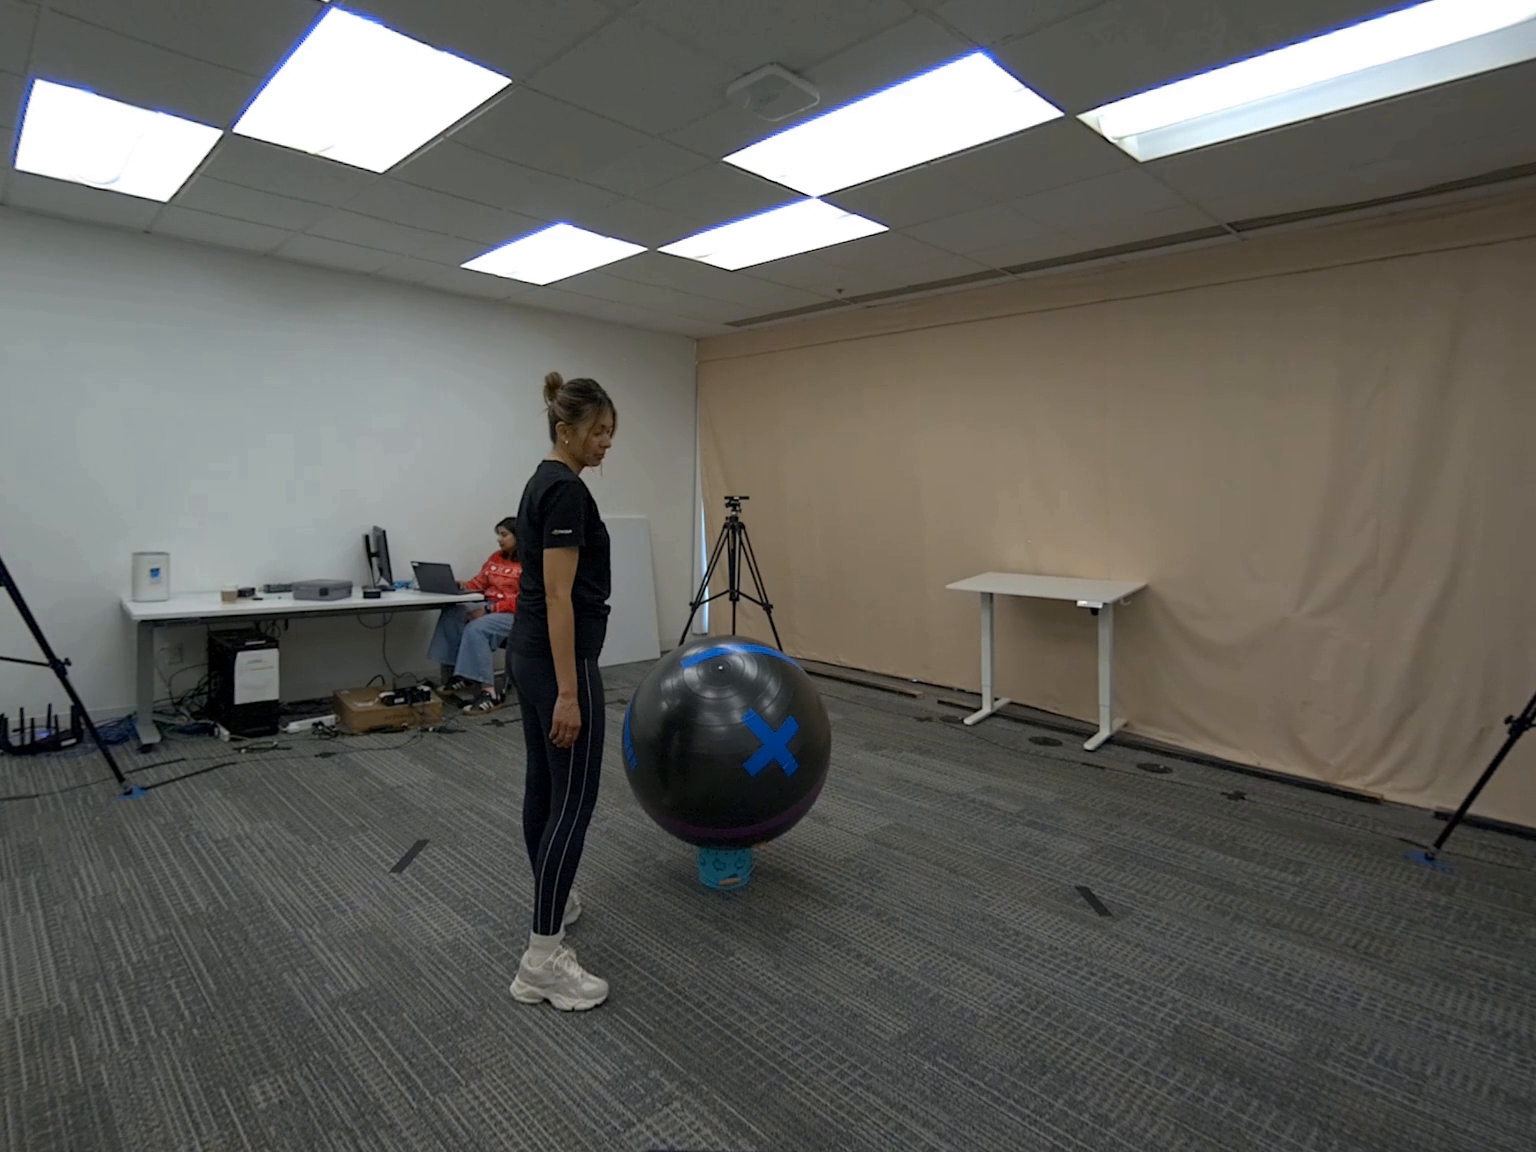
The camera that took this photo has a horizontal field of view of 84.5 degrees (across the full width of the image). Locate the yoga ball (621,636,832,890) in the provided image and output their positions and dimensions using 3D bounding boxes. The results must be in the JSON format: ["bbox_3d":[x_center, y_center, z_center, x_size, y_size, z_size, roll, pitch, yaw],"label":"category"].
[{"bbox_3d":[-0.155,0.598,3.047,0.757,0.756,0.761,1,4,-1],"label":"yoga ball"}]
